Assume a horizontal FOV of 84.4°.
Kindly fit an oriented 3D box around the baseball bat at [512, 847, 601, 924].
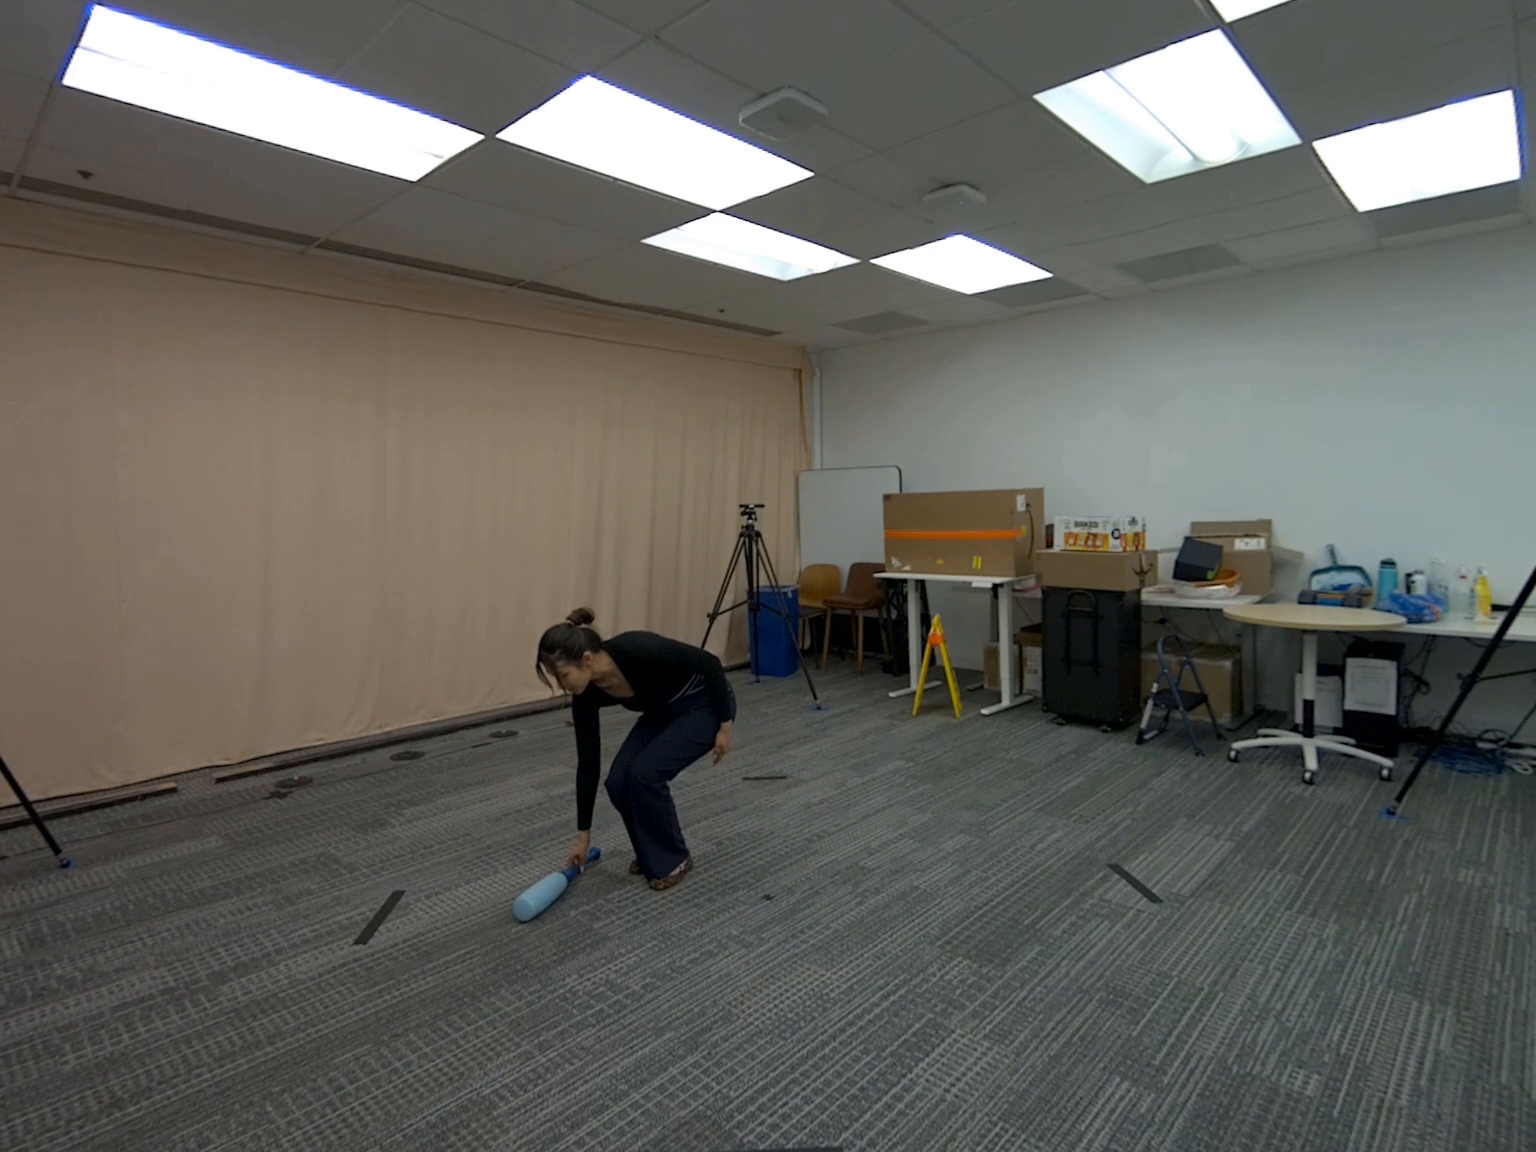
[{"bbox_3d":[-0.747,1.099,3.077,0.091,0.089,0.534,0,4,16],"label":"baseball bat"}]
